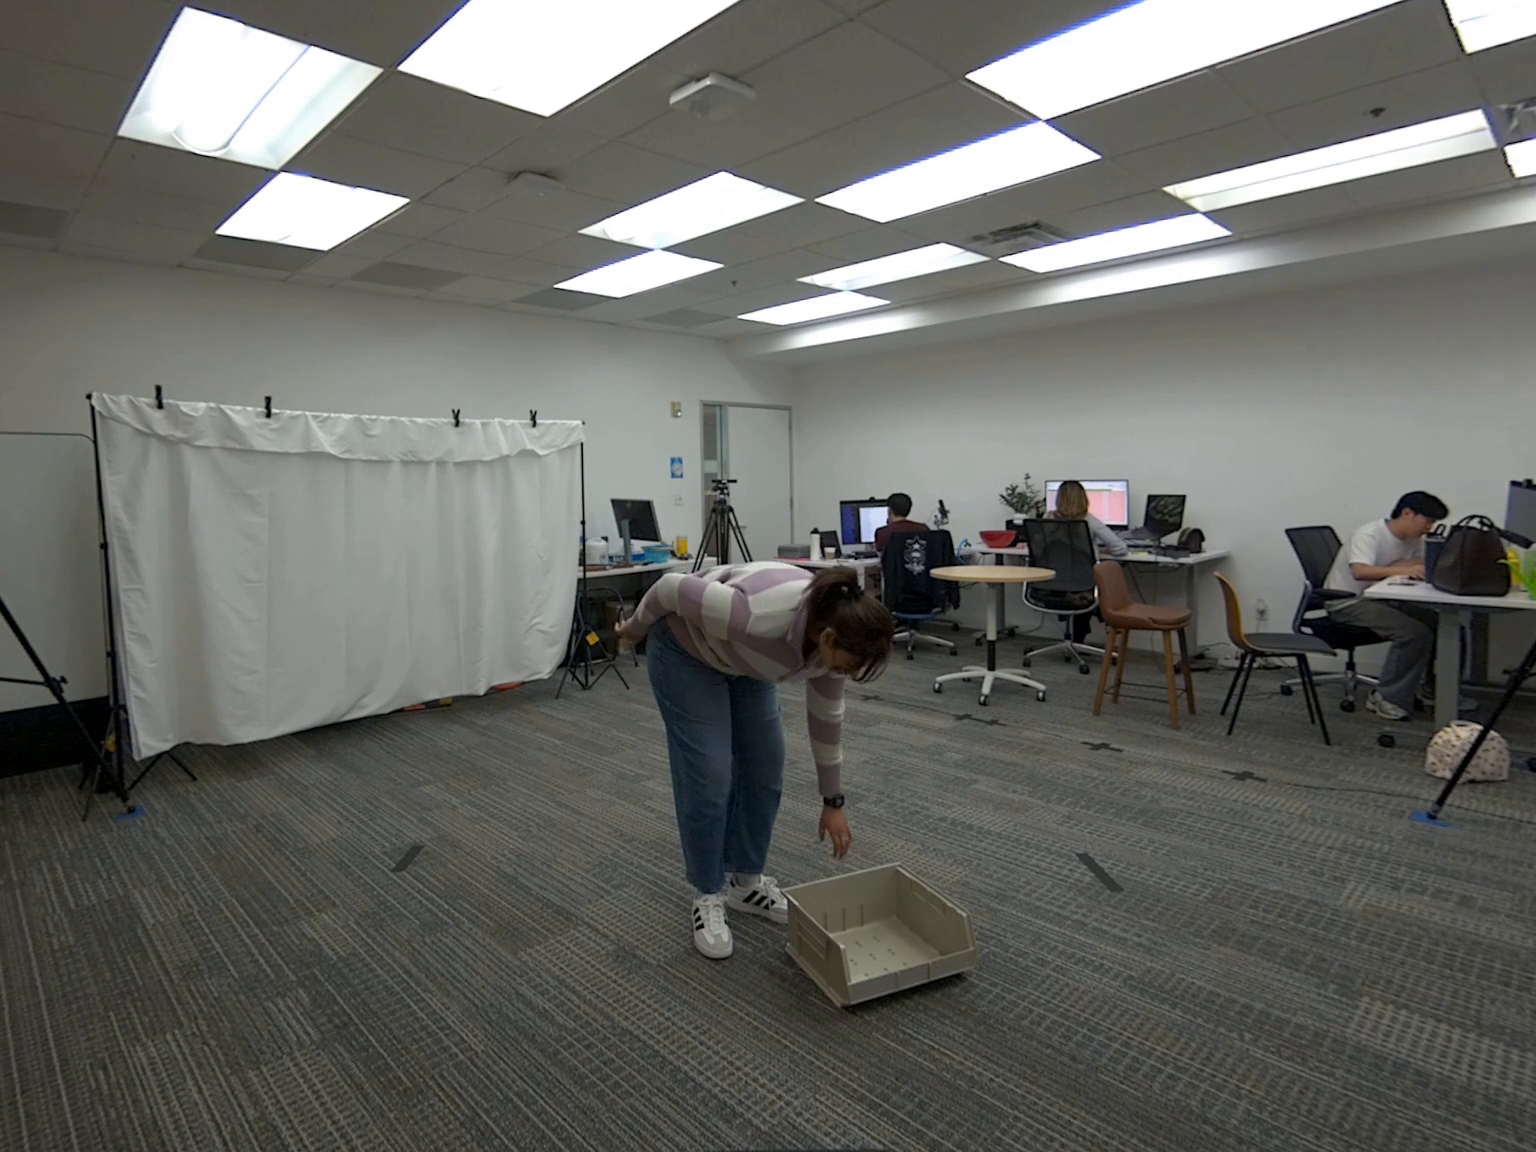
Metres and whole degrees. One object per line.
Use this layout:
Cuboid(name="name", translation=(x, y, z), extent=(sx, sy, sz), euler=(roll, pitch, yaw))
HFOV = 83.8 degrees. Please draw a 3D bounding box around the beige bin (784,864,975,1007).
Cuboid(name="beige bin", translation=(0.314, 1.026, 2.451), extent=(0.414, 0.188, 0.387), euler=(-5, 6, -25))
